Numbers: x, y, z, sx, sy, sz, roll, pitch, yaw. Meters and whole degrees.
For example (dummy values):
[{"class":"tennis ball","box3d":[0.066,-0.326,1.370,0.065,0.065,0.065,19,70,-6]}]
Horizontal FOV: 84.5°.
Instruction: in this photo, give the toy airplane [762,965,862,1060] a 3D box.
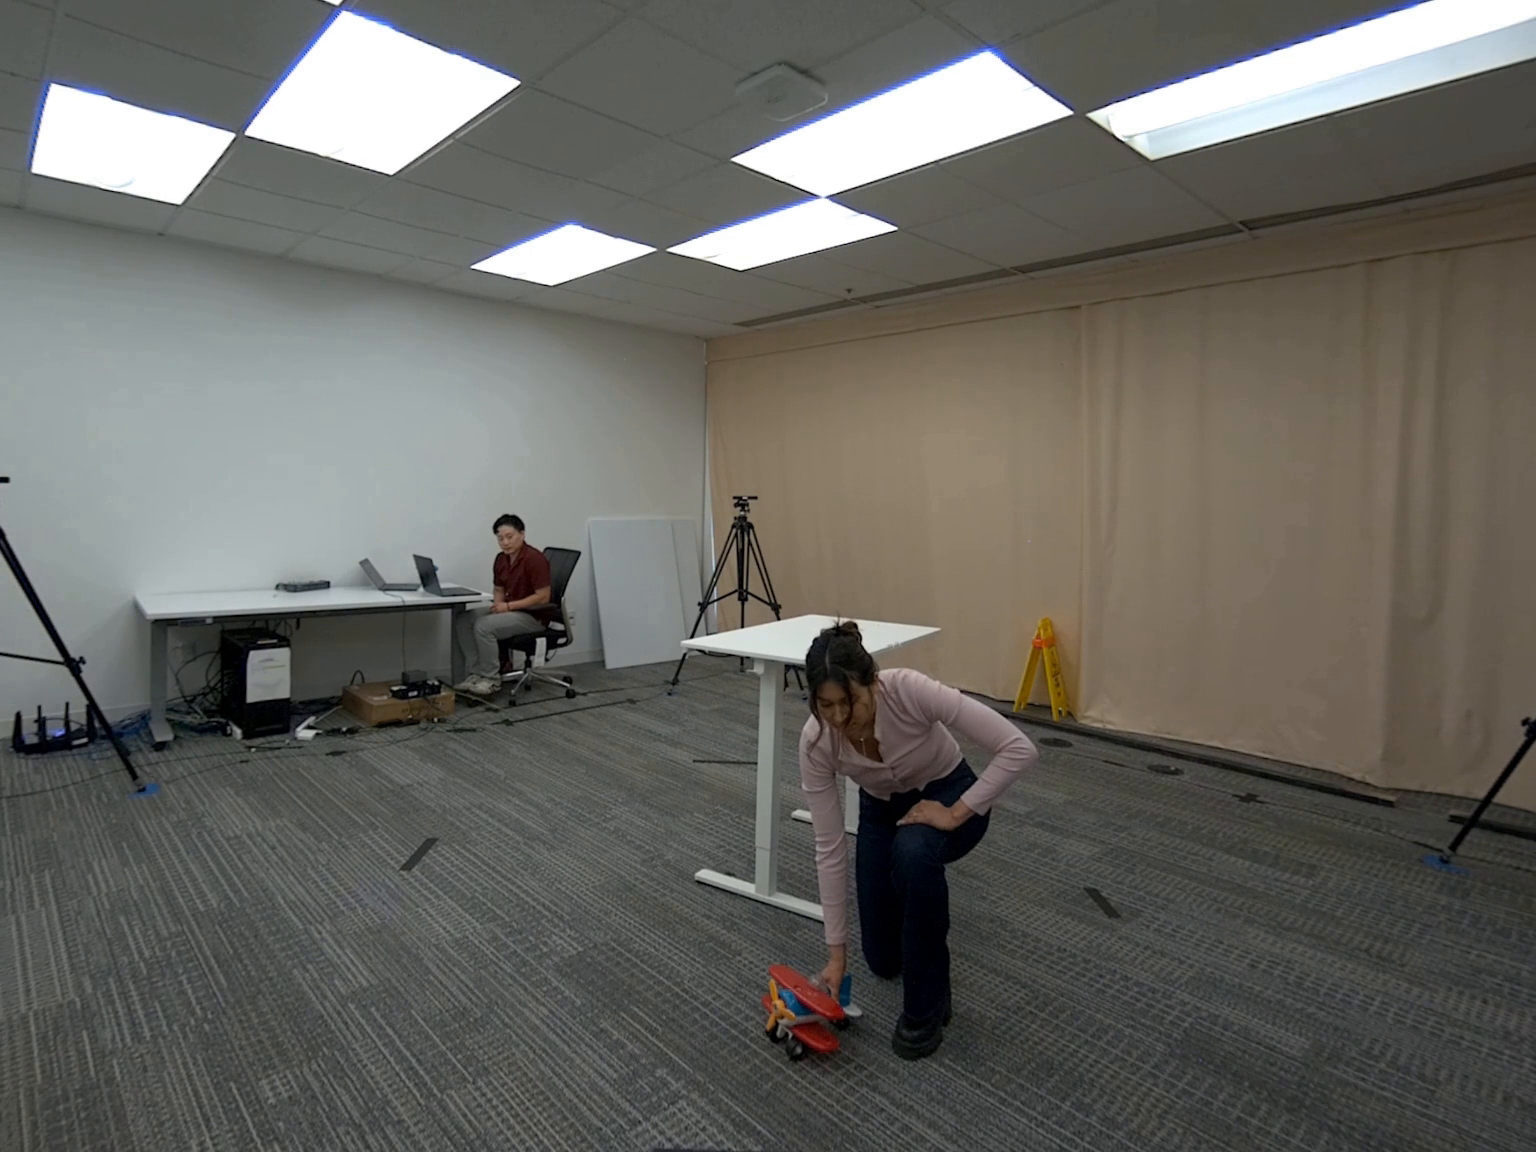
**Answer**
[{"class":"toy airplane","box3d":[0.092,1.111,2.203,0.256,0.156,0.255,5,7,25]}]
